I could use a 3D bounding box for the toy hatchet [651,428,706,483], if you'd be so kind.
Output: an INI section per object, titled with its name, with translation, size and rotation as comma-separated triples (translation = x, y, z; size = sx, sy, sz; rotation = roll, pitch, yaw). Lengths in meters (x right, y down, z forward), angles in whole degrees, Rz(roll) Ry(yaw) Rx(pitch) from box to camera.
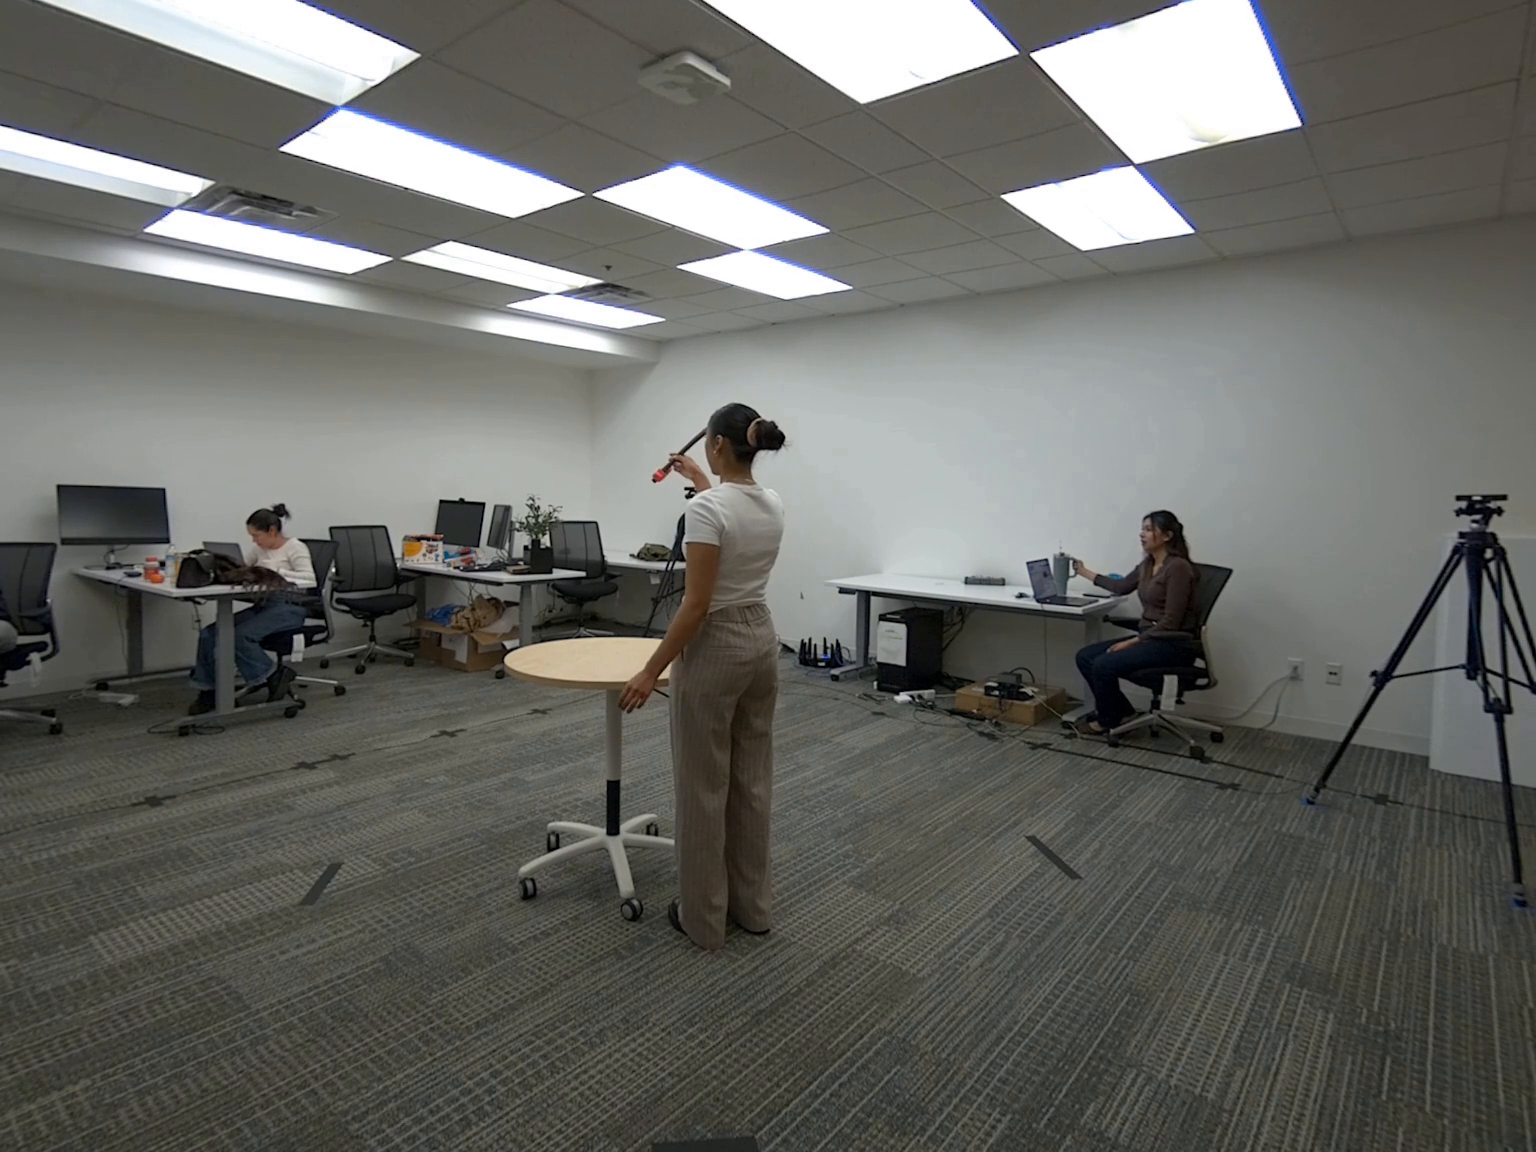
[toy hatchet]
translation = -0.328, -0.434, 3.070
size = 0.270, 0.030, 0.130
rotation = -44, -5, -12
